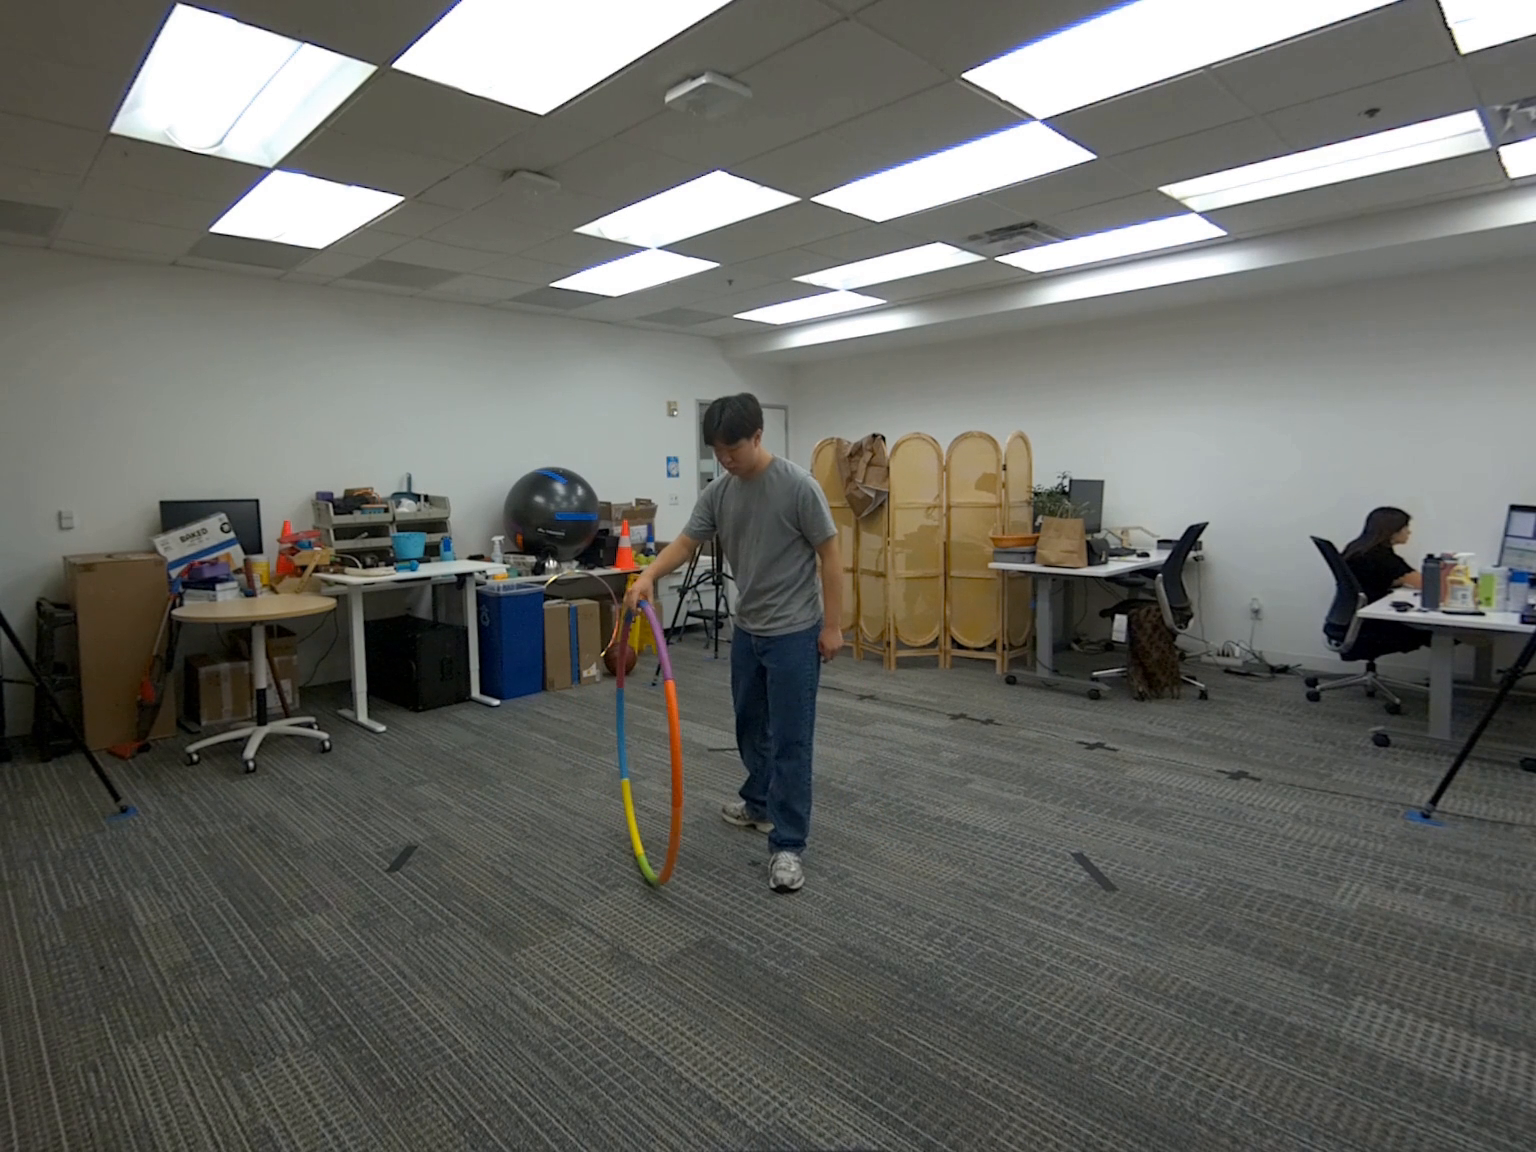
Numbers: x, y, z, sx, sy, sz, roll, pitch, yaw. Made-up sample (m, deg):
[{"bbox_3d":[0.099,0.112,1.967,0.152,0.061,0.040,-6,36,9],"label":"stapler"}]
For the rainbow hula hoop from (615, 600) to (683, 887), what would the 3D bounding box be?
[{"bbox_3d":[-0.440,0.571,3.025,0.035,0.975,0.999,0,4,-20],"label":"rainbow hula hoop"}]
